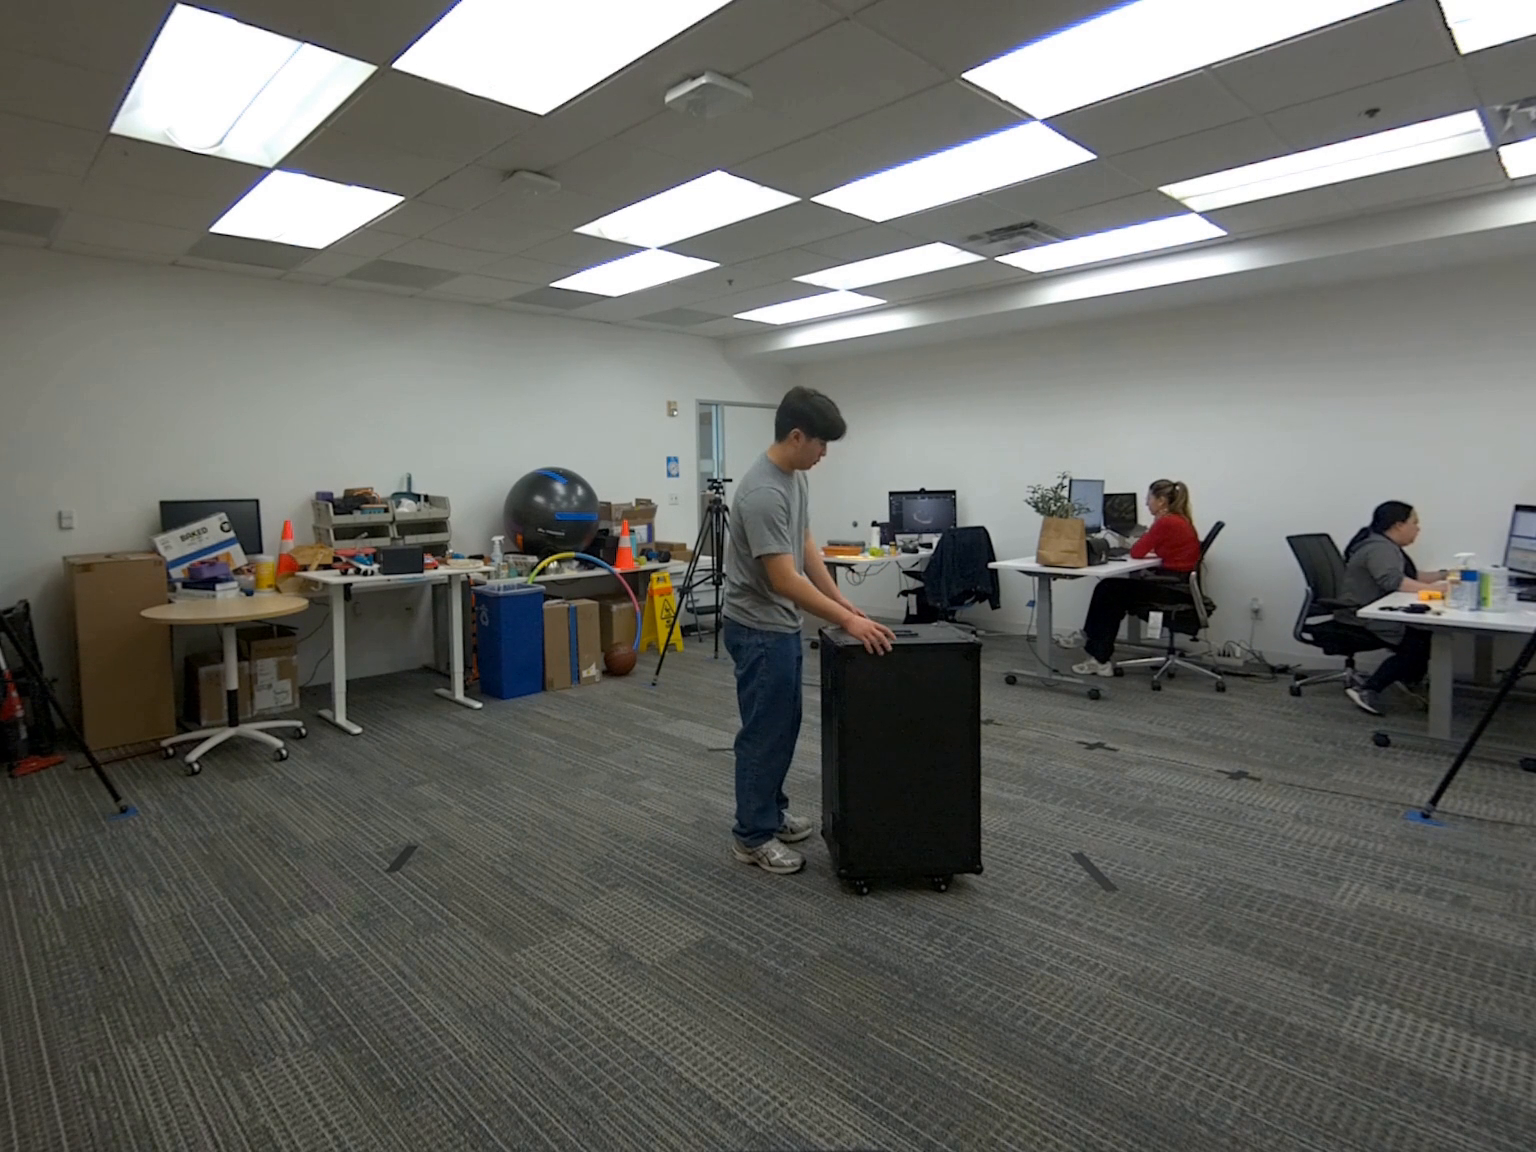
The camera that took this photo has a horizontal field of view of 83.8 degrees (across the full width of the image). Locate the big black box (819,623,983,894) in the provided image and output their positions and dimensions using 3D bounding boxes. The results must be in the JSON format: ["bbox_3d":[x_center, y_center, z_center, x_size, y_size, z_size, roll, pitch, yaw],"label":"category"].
[{"bbox_3d":[0.449,0.629,2.996,0.520,0.859,0.399,-1,3,-4],"label":"big black box"}]
